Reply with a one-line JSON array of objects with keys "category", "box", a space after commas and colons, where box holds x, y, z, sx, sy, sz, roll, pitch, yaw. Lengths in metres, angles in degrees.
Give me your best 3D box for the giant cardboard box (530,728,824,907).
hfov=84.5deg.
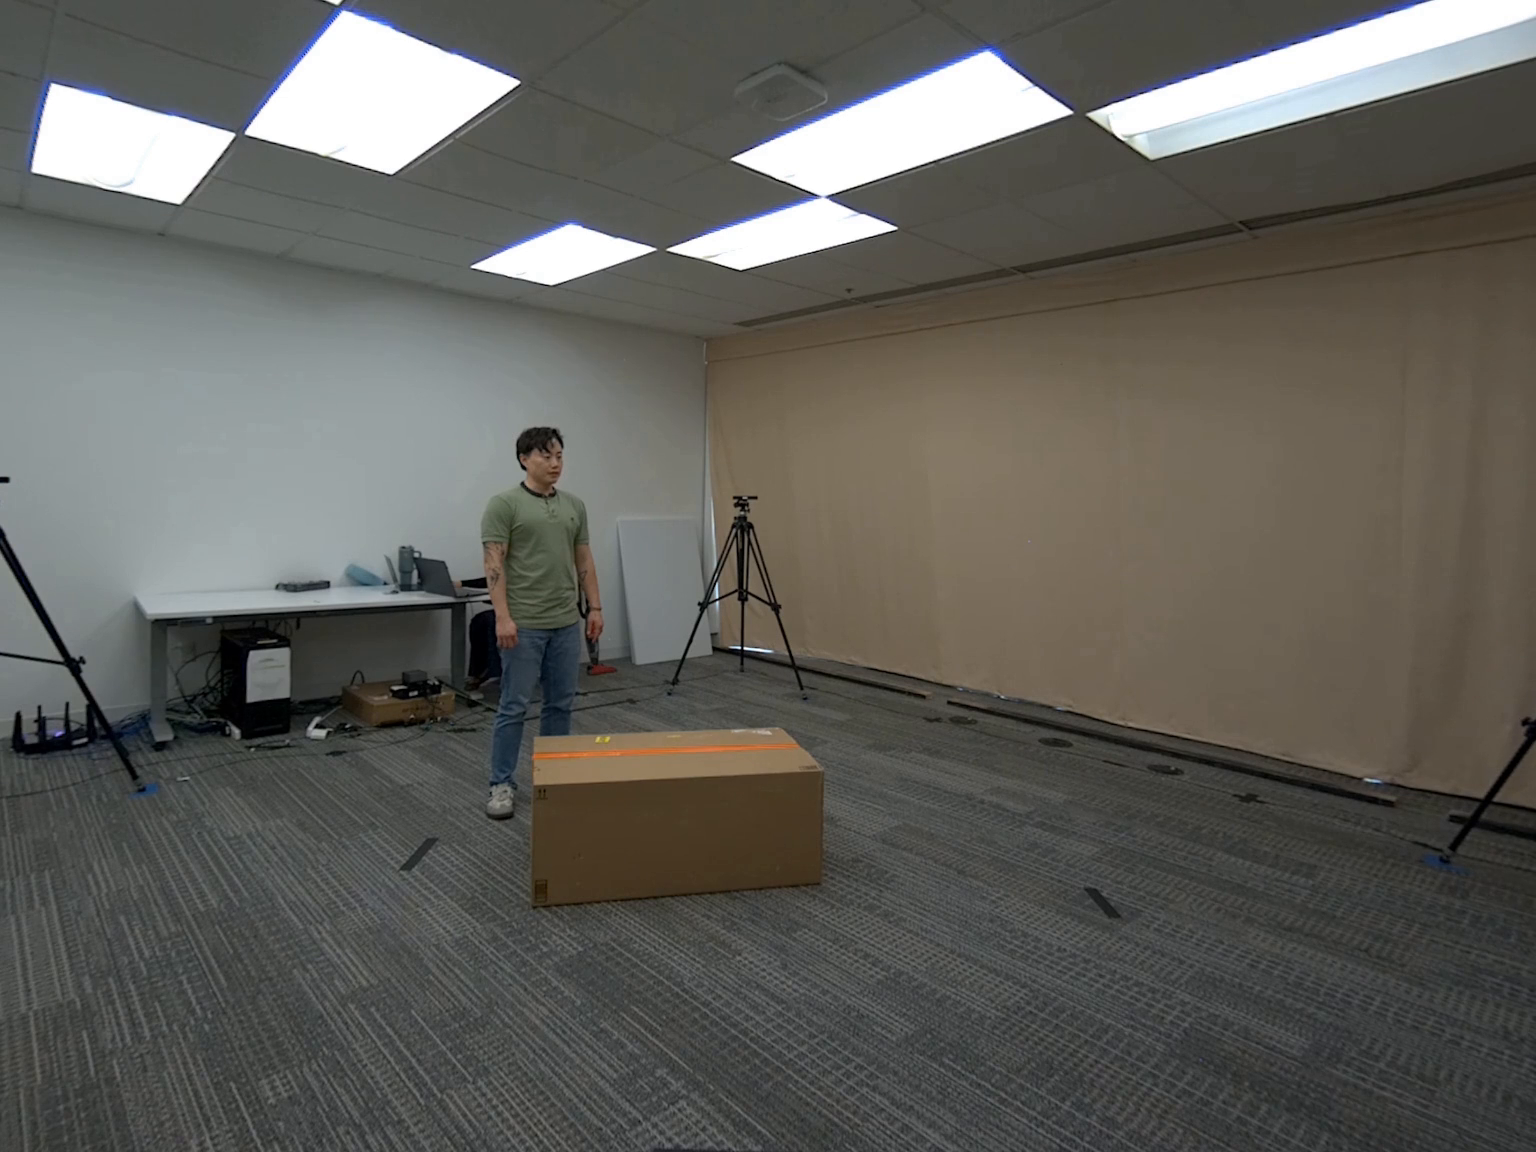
[{"category": "giant cardboard box", "box": [-0.374, 0.872, 3.189, 1.015, 0.425, 0.585, 0, 4, -14]}]
